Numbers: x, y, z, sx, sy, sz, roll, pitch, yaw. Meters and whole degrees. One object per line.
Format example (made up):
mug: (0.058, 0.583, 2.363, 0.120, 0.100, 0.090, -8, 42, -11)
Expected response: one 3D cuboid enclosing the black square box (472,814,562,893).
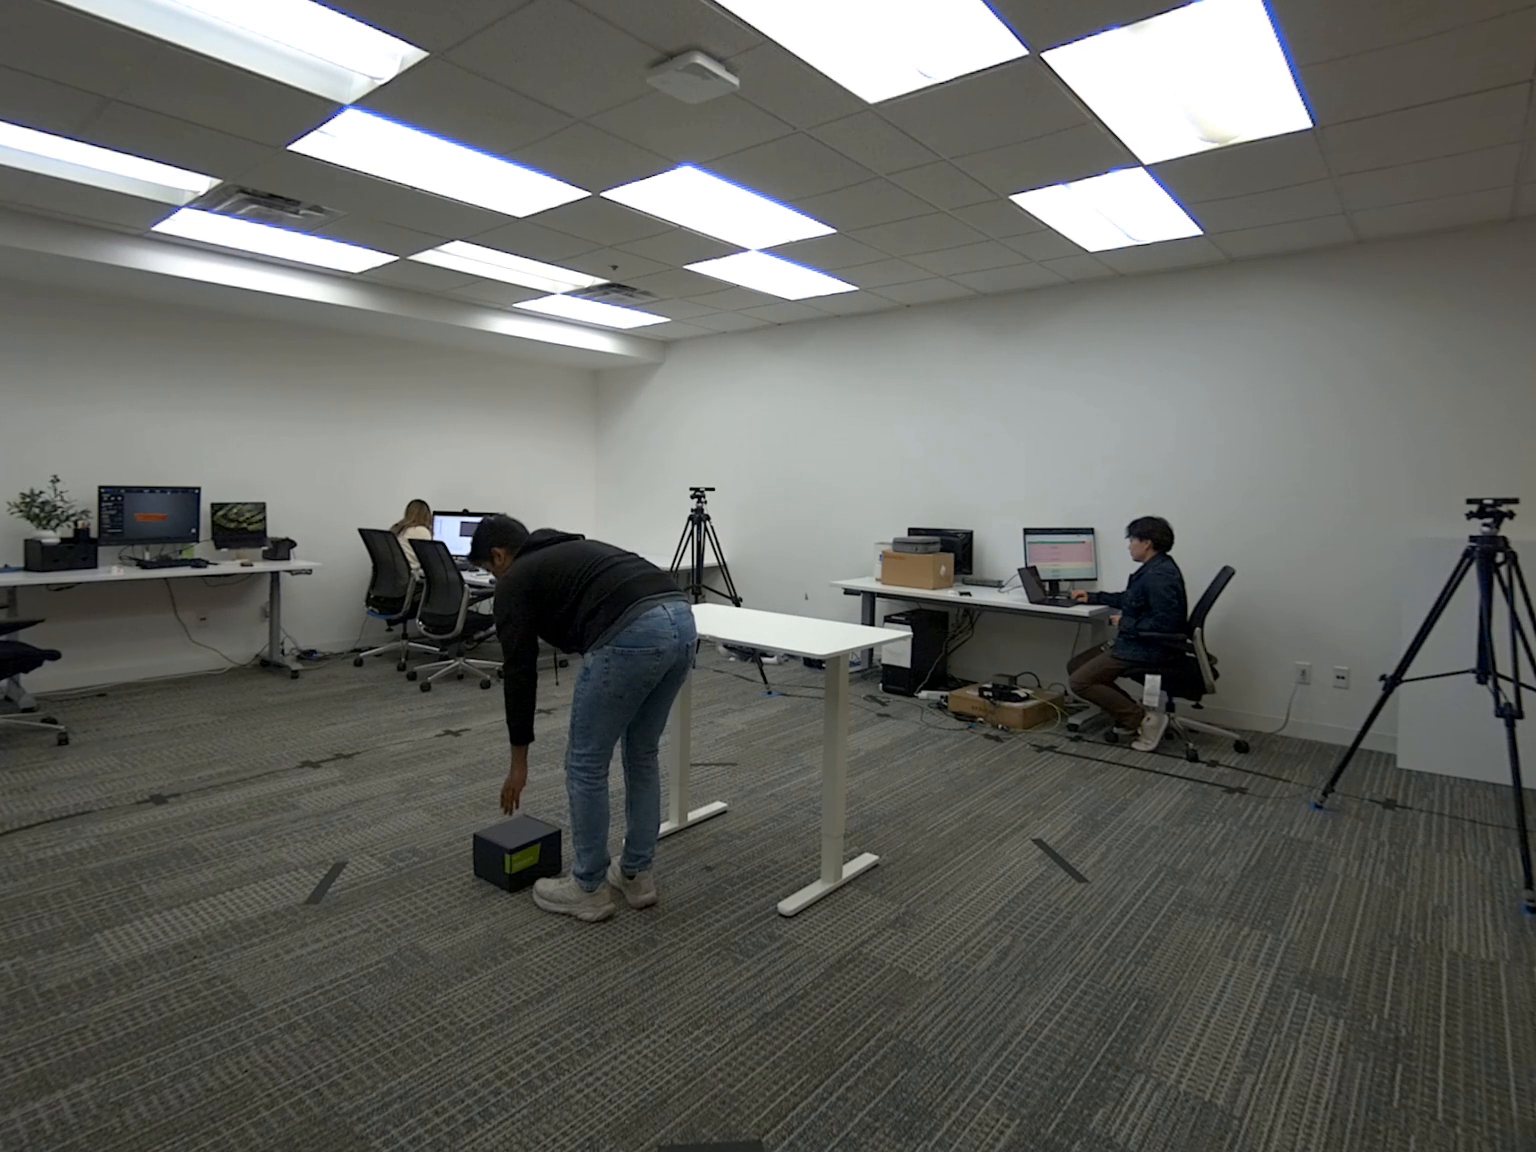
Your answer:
black square box: (-0.896, 0.977, 3.032, 0.224, 0.155, 0.221, 5, 7, 36)
